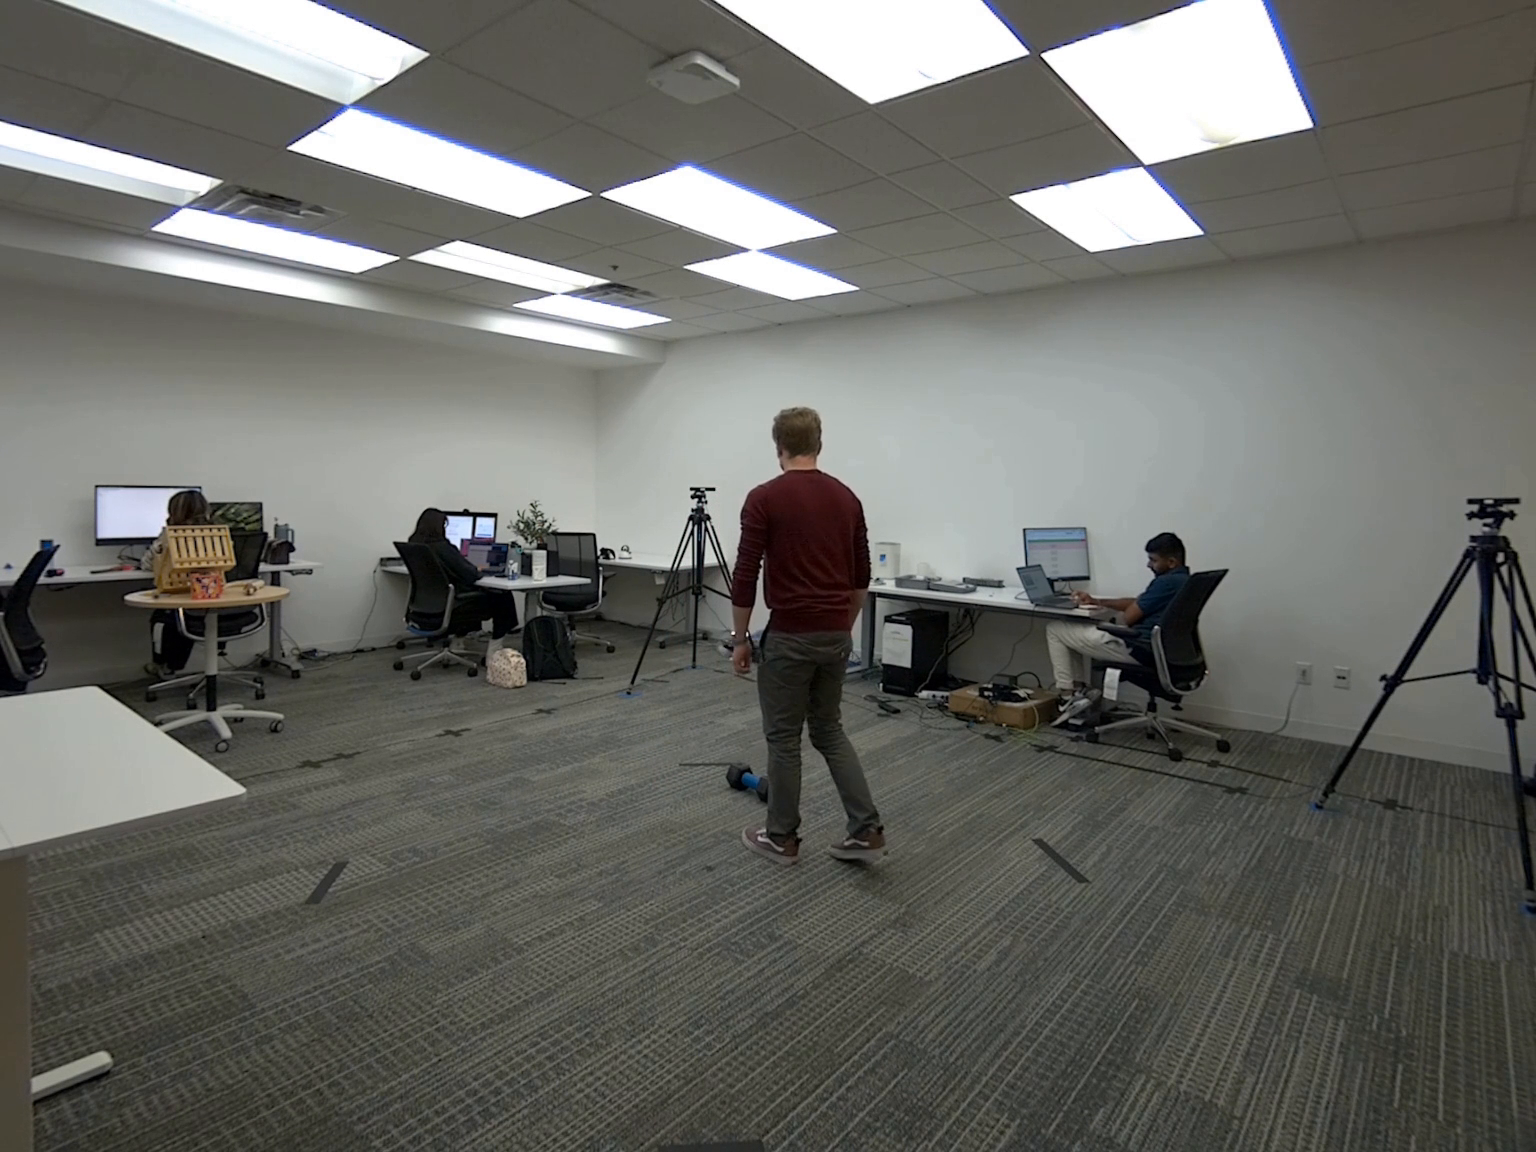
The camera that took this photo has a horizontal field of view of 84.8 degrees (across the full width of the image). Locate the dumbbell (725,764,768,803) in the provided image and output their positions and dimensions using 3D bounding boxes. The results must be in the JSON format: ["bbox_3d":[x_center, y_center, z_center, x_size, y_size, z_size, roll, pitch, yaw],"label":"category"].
[{"bbox_3d":[-0.067,0.941,3.893,0.108,0.120,0.304,-37,28,-32],"label":"dumbbell"}]
